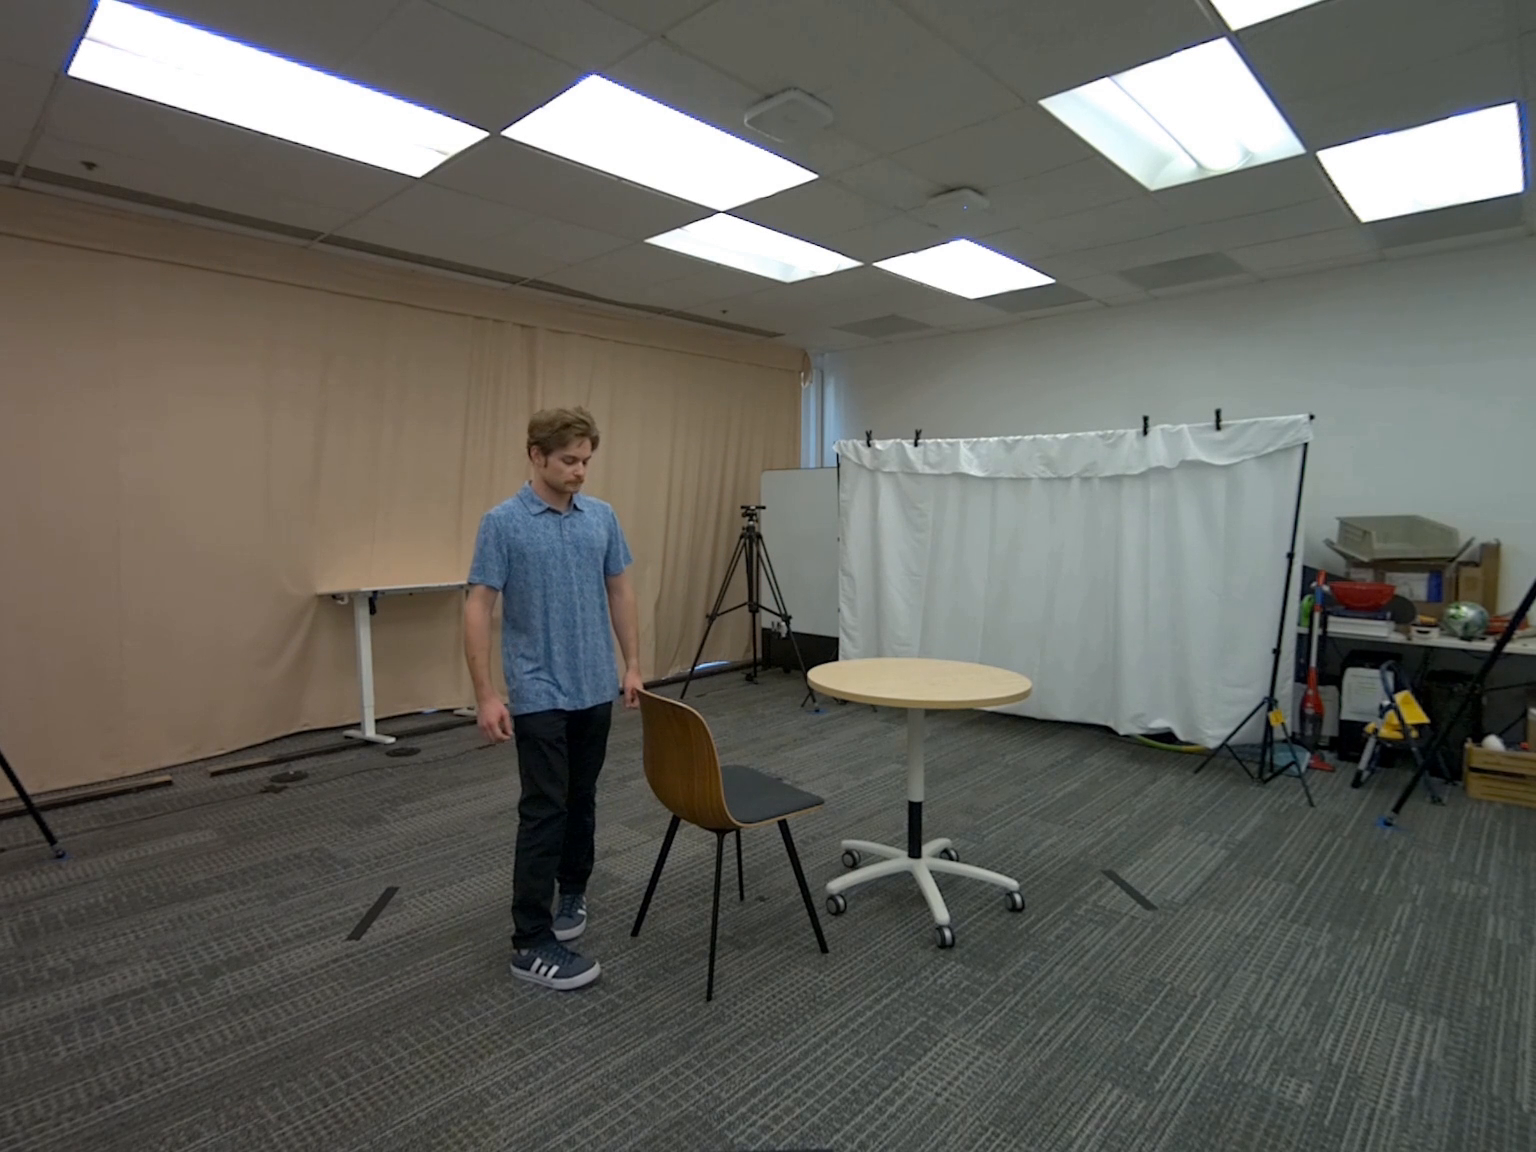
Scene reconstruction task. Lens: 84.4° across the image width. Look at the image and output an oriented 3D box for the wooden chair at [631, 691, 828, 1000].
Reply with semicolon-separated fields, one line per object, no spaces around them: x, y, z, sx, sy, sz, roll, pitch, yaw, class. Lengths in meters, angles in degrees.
-0.119;0.745;2.646;0.509;0.874;0.493;-8;7;-37;wooden chair
